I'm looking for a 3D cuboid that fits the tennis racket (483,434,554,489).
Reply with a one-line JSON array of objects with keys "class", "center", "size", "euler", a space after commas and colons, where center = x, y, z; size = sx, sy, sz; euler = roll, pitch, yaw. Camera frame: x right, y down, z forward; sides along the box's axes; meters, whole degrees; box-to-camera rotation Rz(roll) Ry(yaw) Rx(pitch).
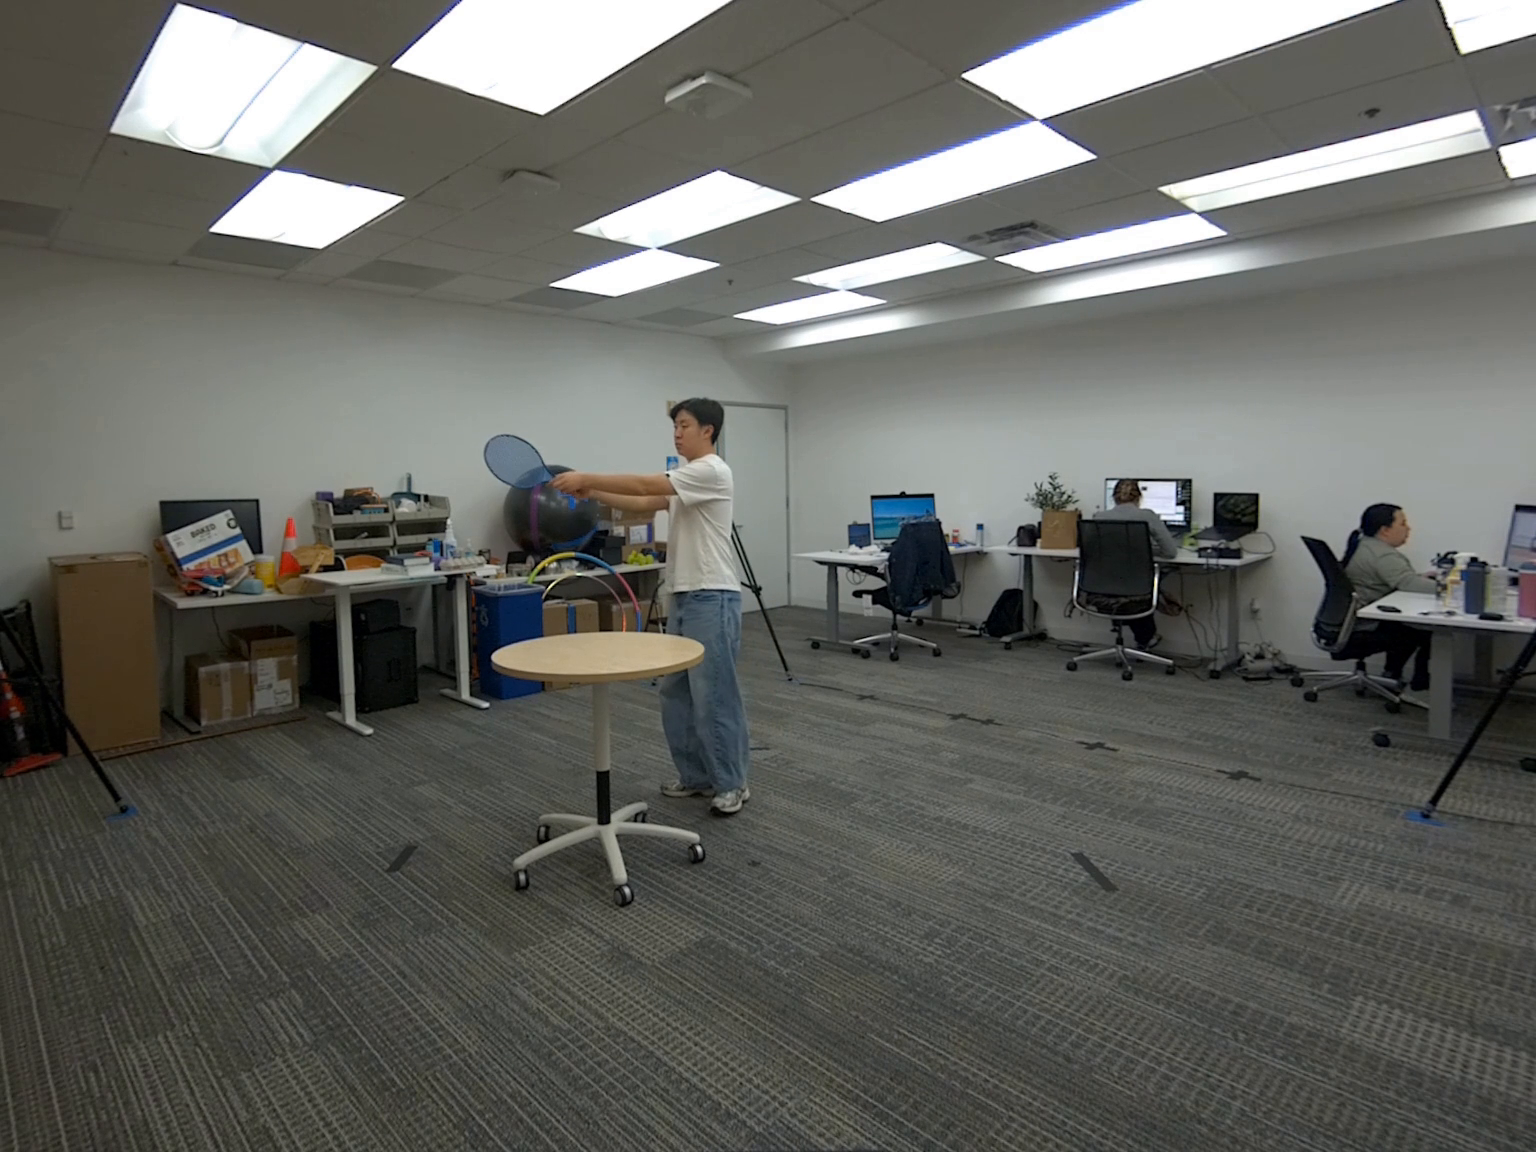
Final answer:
[{"class": "tennis racket", "center": [-0.961, -0.425, 3.485], "size": [0.417, 0.216, 0.032], "euler": [31, -26, -34]}]
